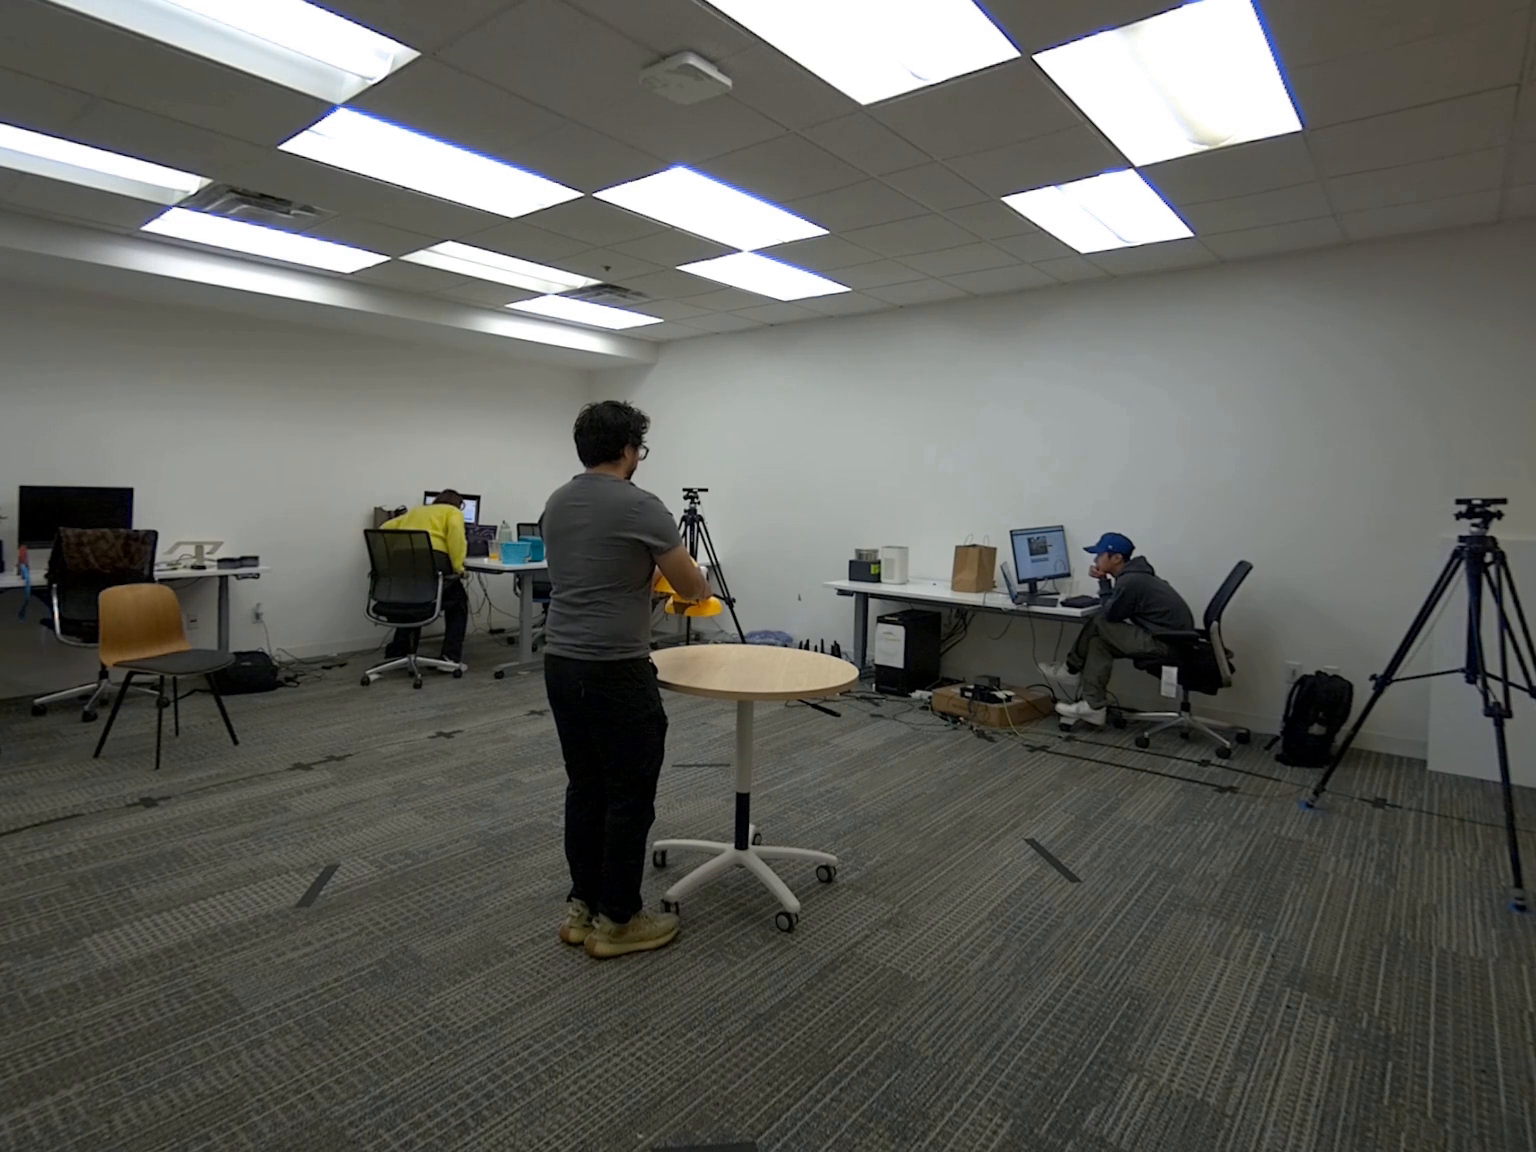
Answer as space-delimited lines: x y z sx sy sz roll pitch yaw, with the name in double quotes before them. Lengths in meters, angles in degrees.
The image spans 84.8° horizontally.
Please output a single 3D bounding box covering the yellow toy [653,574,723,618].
"yellow toy" -0.285 0.011 3.031 0.212 0.229 0.188 5 9 38
